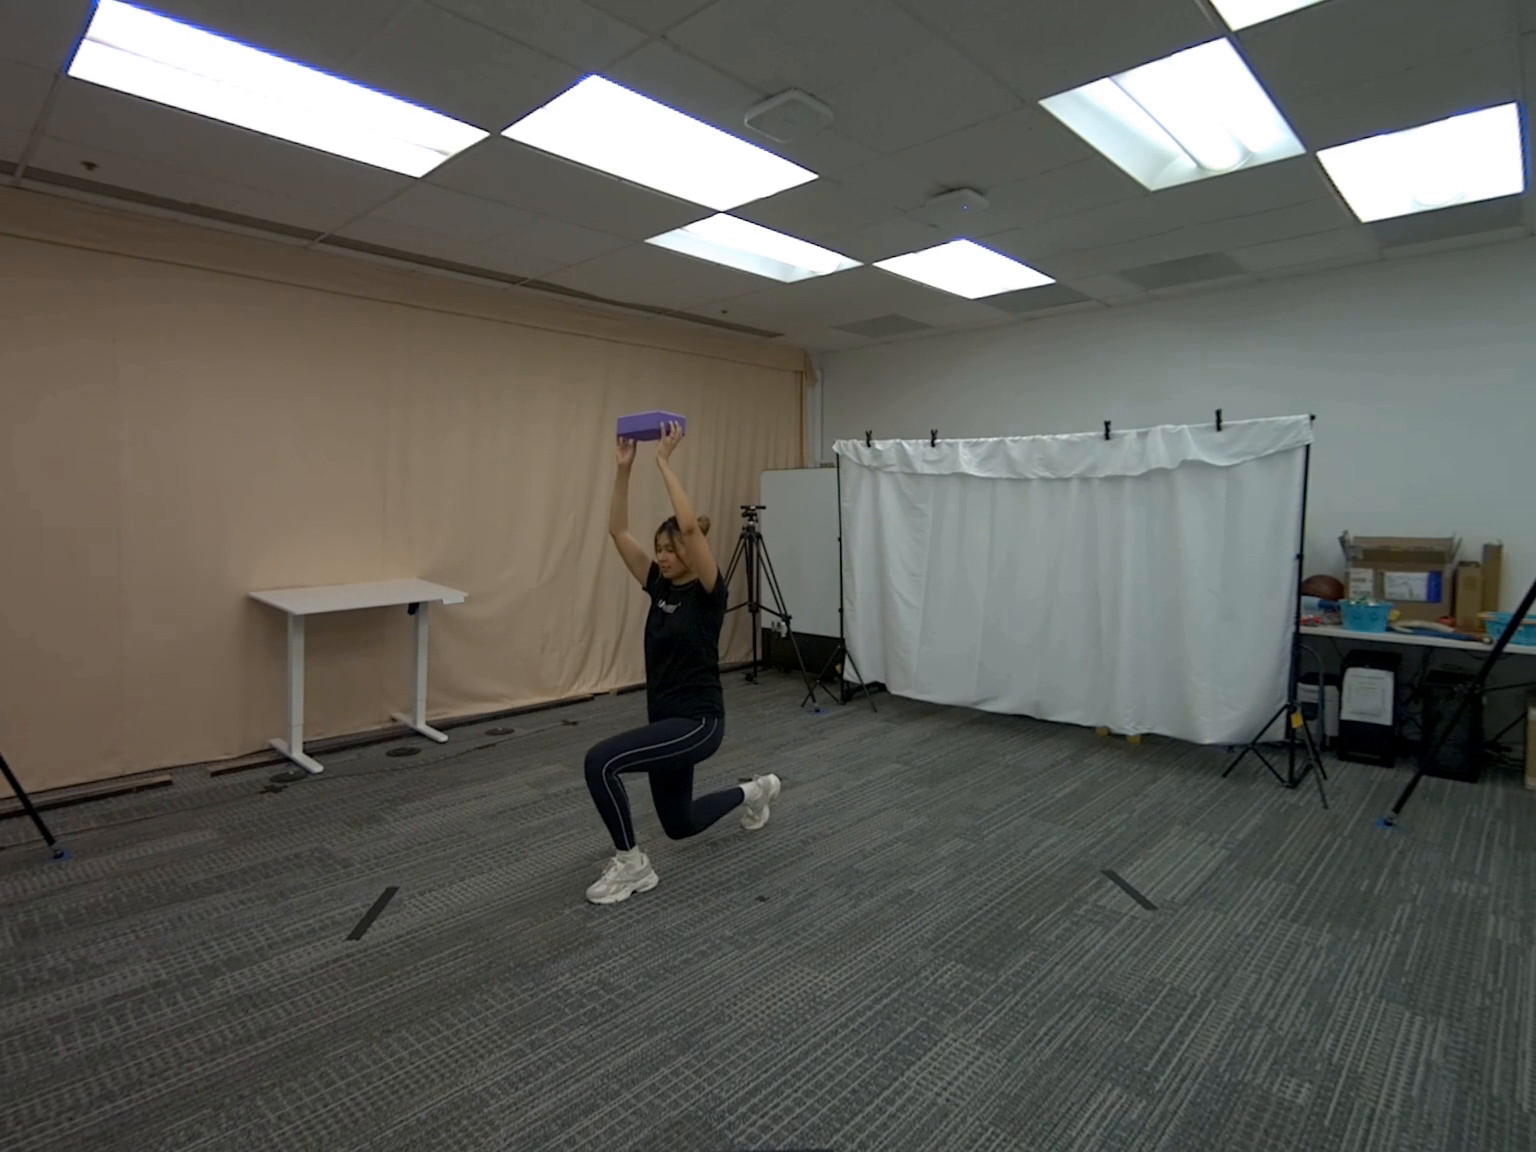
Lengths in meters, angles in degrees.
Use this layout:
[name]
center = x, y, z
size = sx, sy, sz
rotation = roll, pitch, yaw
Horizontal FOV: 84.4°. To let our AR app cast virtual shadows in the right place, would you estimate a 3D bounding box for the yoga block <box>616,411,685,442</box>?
[yoga block]
center = -0.435, -0.566, 3.129
size = 0.237, 0.076, 0.144
rotation = 1, 0, 40
